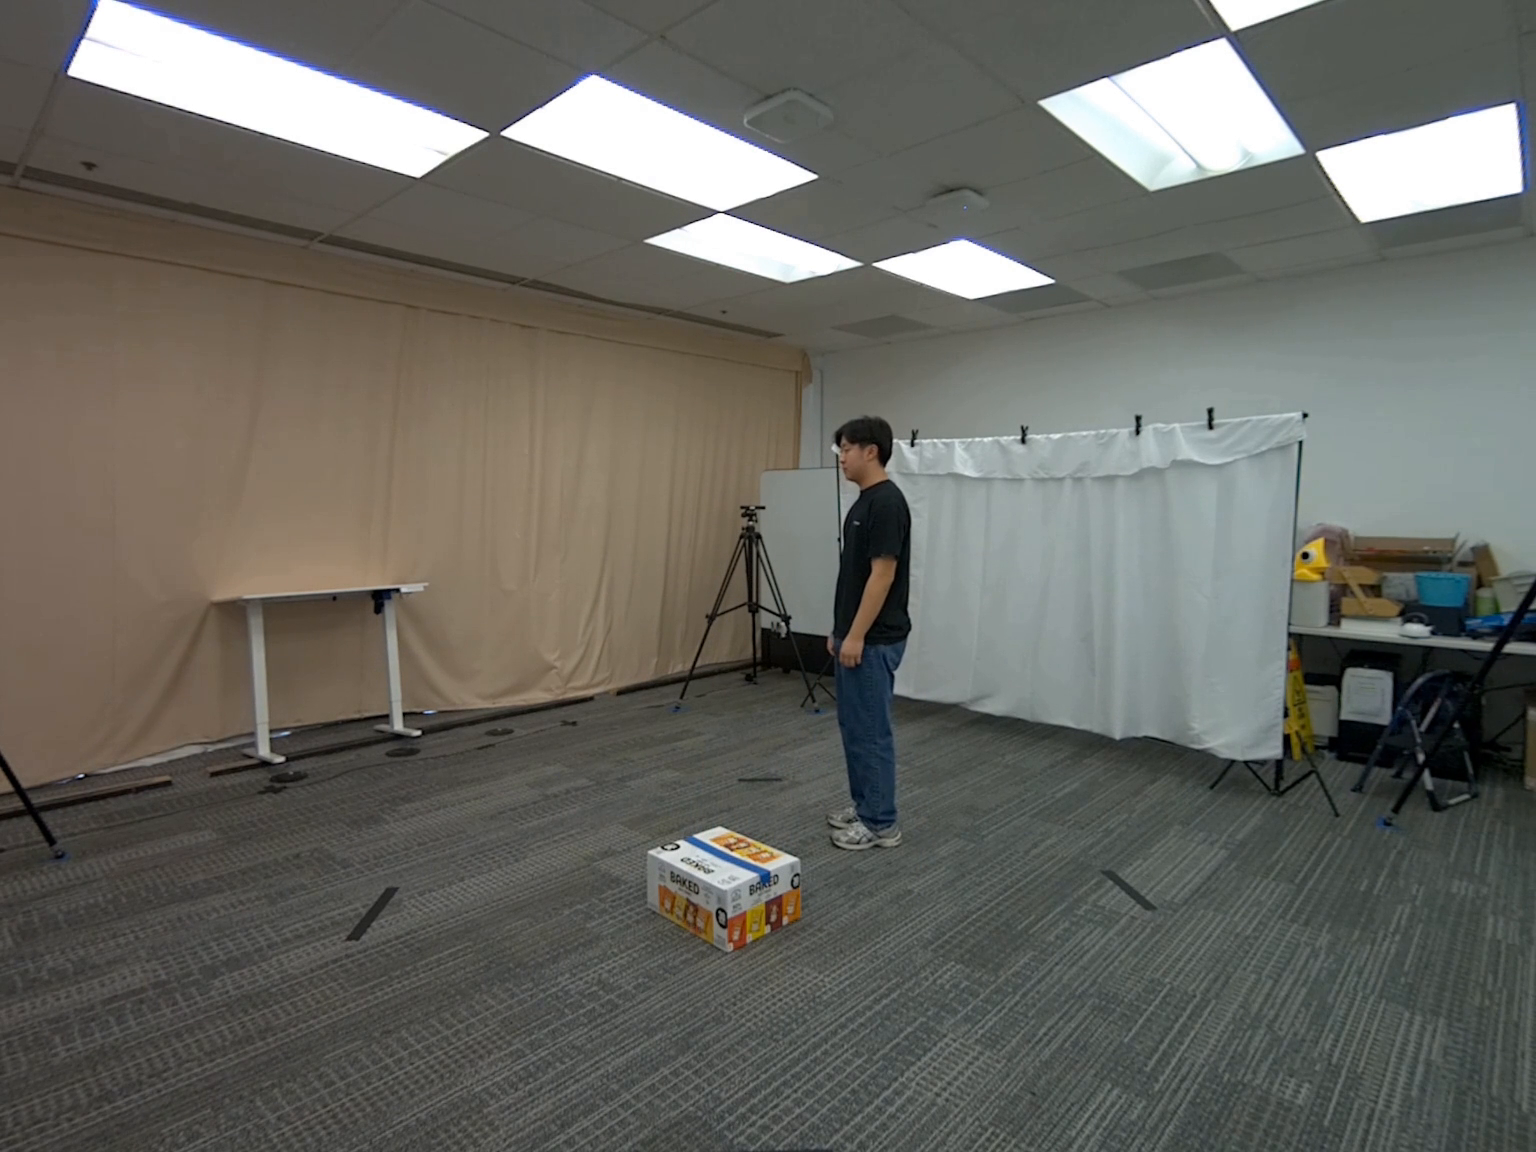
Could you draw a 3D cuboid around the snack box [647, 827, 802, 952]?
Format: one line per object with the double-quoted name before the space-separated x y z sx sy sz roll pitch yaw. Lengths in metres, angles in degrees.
"snack box" -0.151 1.054 2.869 0.330 0.205 0.419 -4 6 -44
